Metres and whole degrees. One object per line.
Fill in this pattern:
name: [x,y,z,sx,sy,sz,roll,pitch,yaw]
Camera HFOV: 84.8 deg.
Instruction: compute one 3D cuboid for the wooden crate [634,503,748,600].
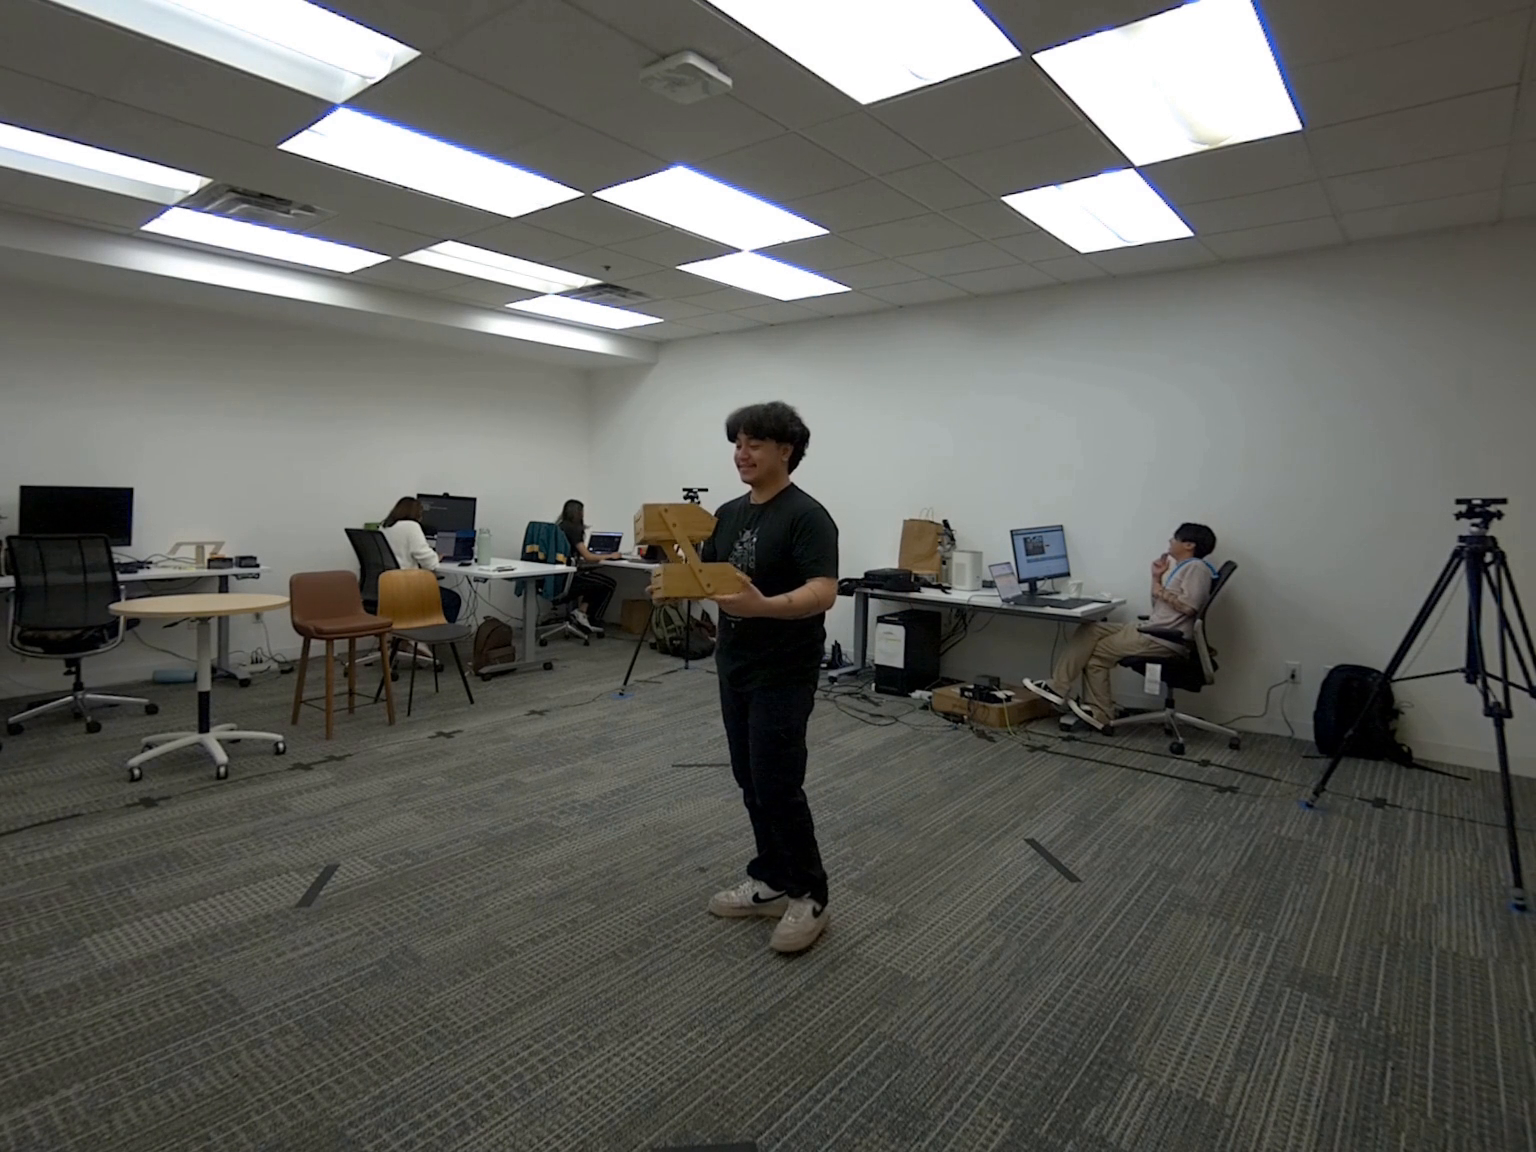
wooden crate: [-0.233,-0.076,2.511,0.299,0.275,0.326,-2,-4,-11]
